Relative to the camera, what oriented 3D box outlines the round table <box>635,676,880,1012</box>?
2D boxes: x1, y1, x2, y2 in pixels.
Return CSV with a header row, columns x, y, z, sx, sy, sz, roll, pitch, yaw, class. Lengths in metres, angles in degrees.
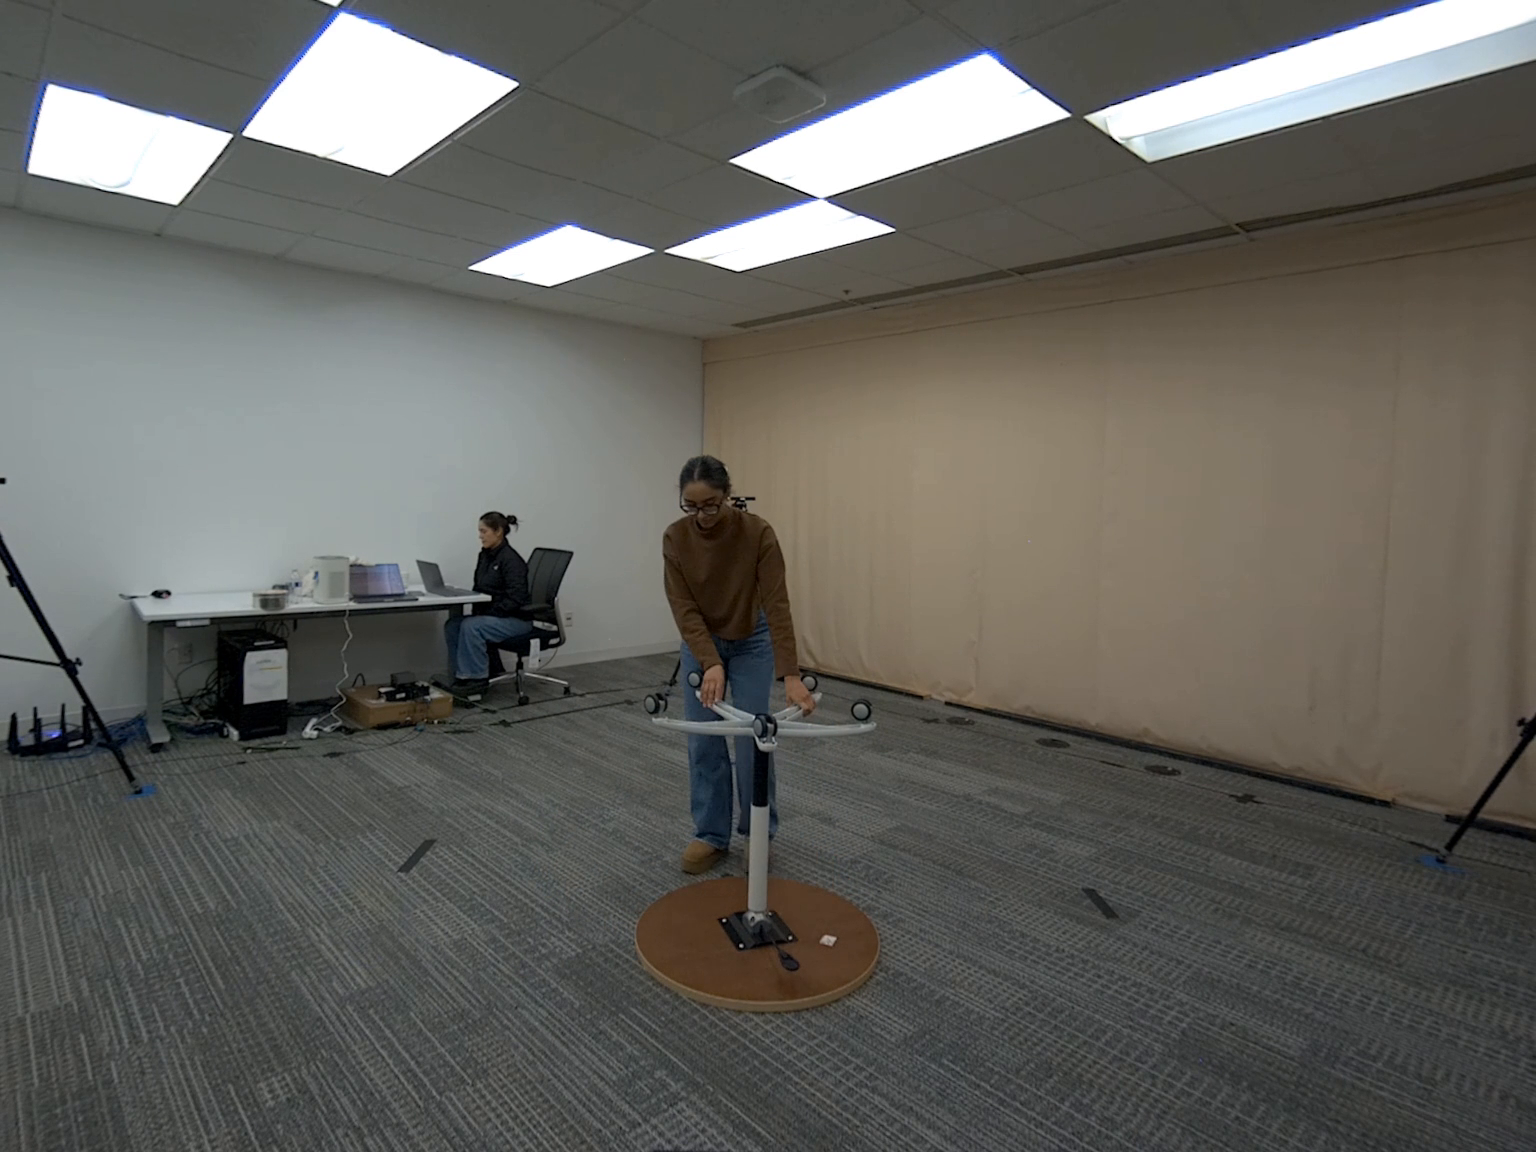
x,y,z,sx,sy,sz,roll,pitch,yaw,class
-0.034,0.757,2.632,0.763,0.791,0.767,1,5,-1,round table
